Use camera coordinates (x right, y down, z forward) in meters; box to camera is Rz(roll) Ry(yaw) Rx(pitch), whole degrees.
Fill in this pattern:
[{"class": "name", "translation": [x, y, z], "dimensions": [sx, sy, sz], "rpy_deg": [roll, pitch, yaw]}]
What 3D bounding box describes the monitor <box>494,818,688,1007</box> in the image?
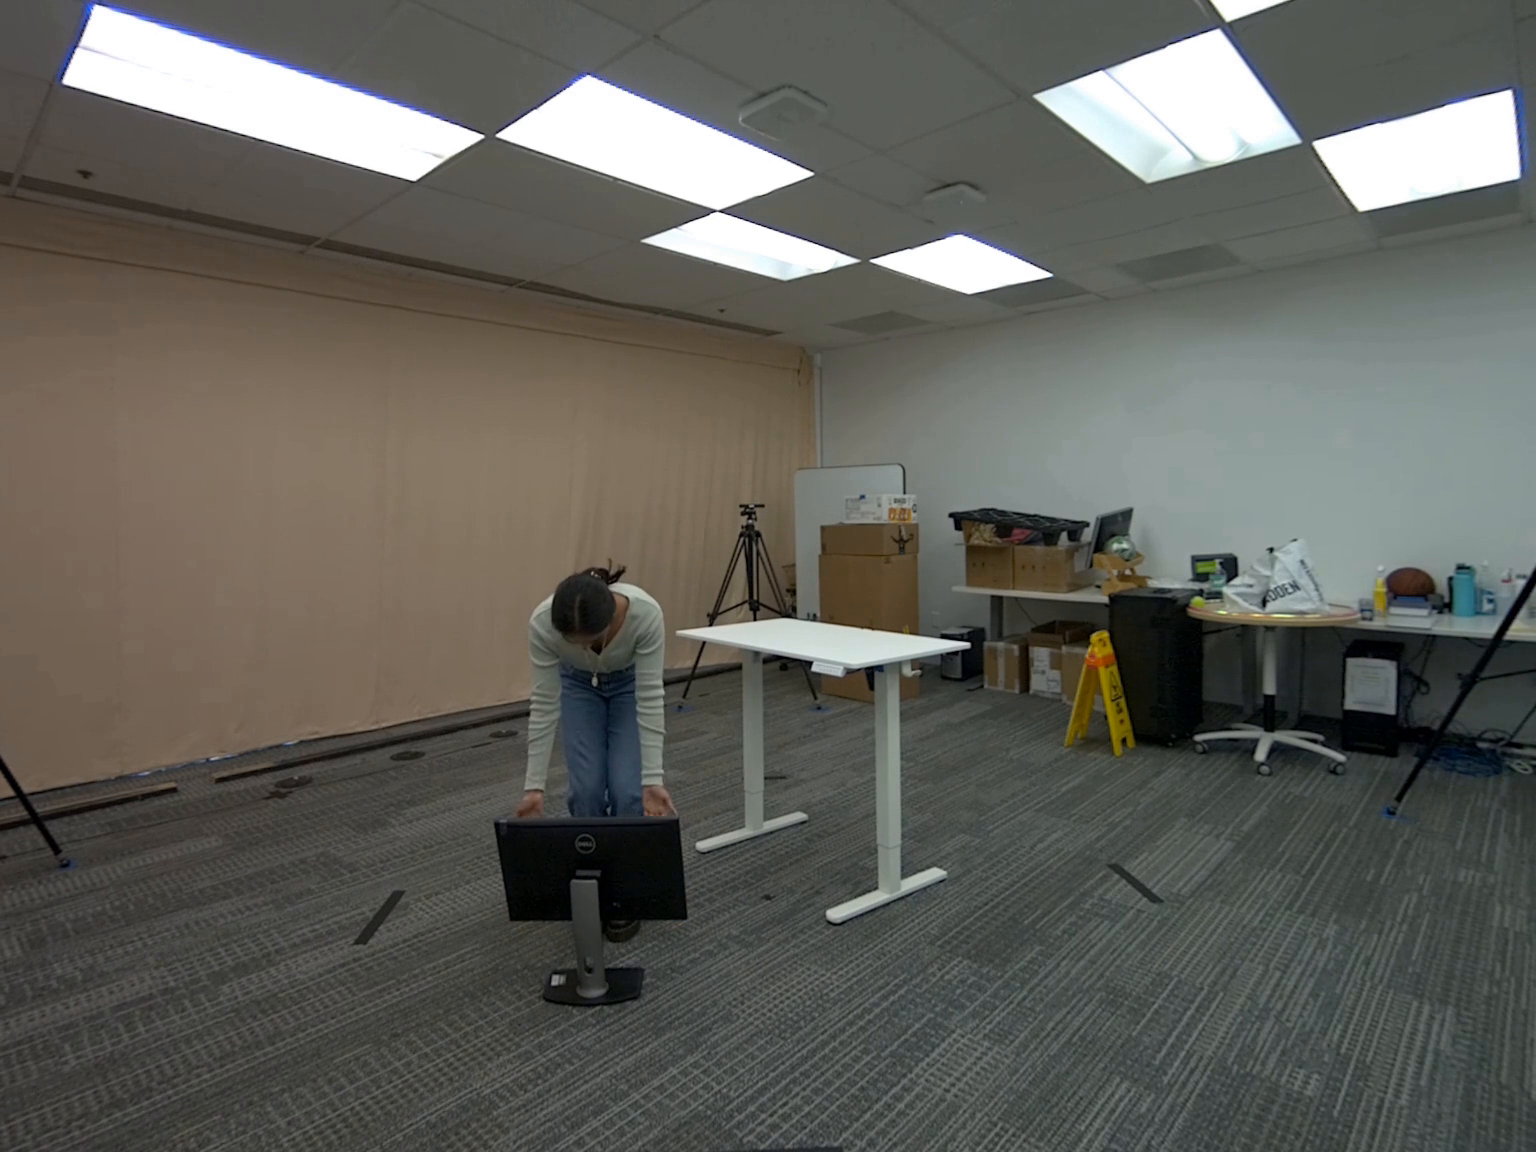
[{"class": "monitor", "translation": [-0.512, 0.941, 2.424], "dimensions": [0.540, 0.521, 0.187], "rpy_deg": [-2, 5, 1]}]
